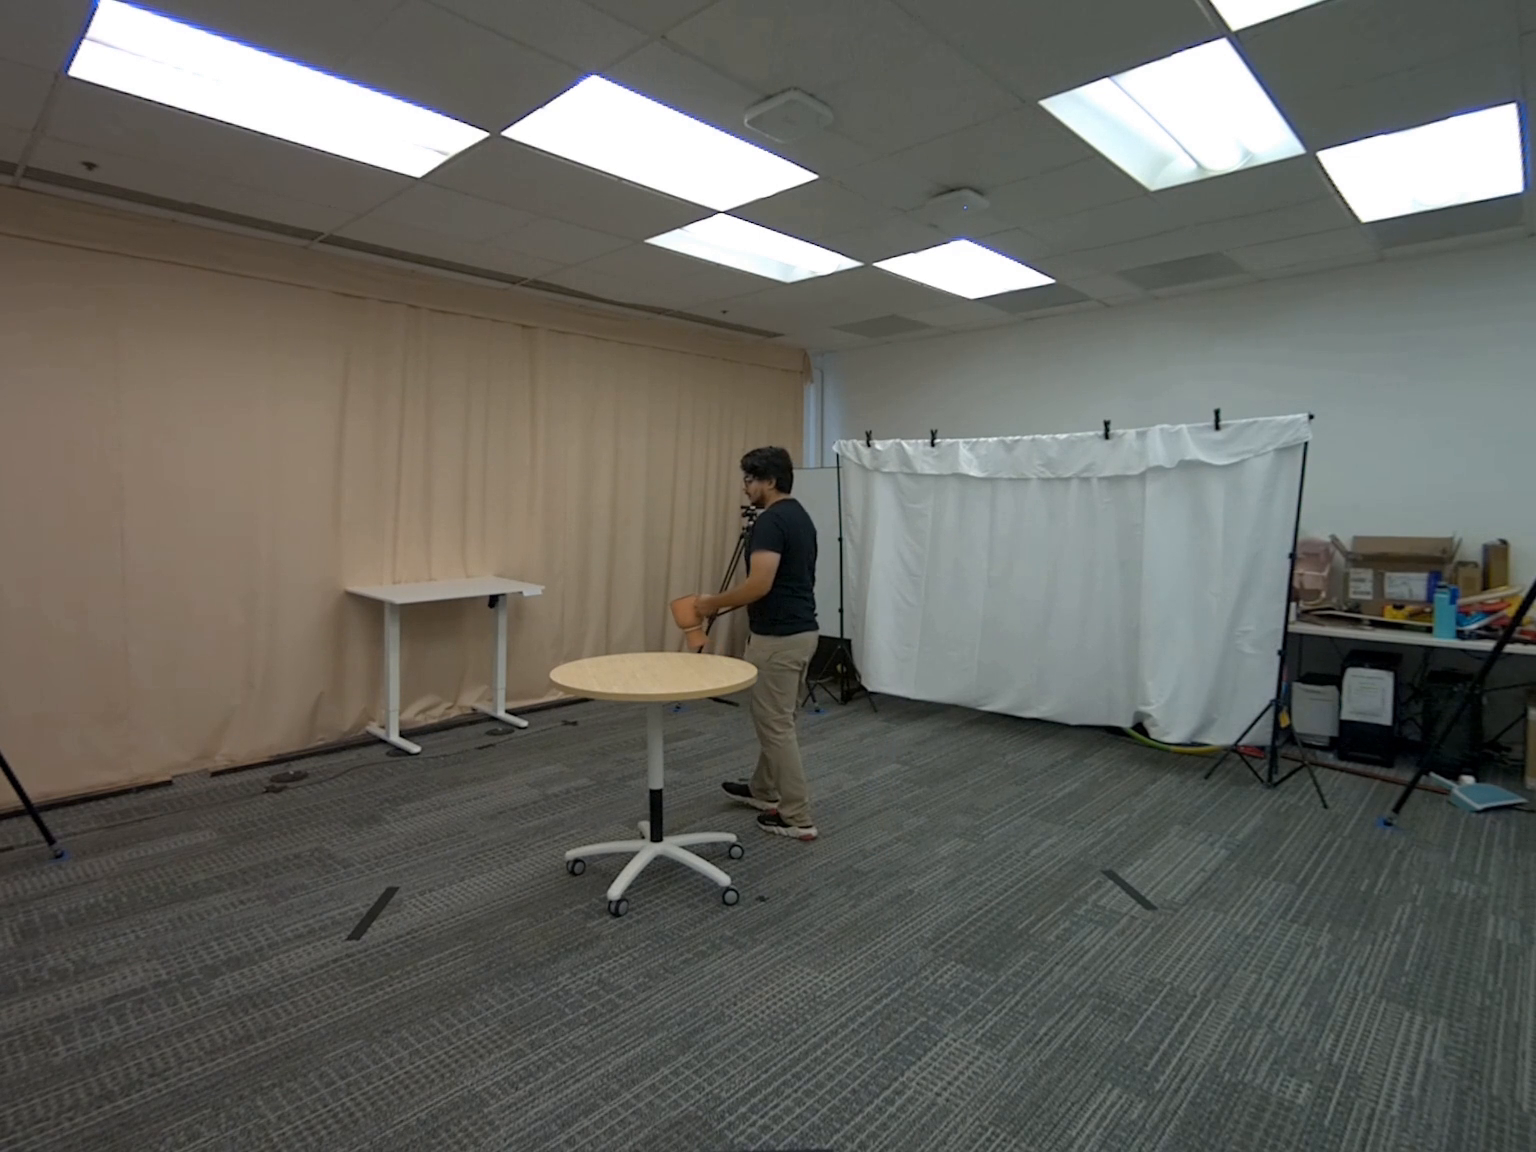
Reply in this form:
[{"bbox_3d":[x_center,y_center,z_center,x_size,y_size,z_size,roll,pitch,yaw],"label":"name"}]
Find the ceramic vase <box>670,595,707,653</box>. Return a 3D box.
[{"bbox_3d":[-0.334,0.203,3.688,0.134,0.220,0.159,-18,-1,-4],"label":"ceramic vase"}]
